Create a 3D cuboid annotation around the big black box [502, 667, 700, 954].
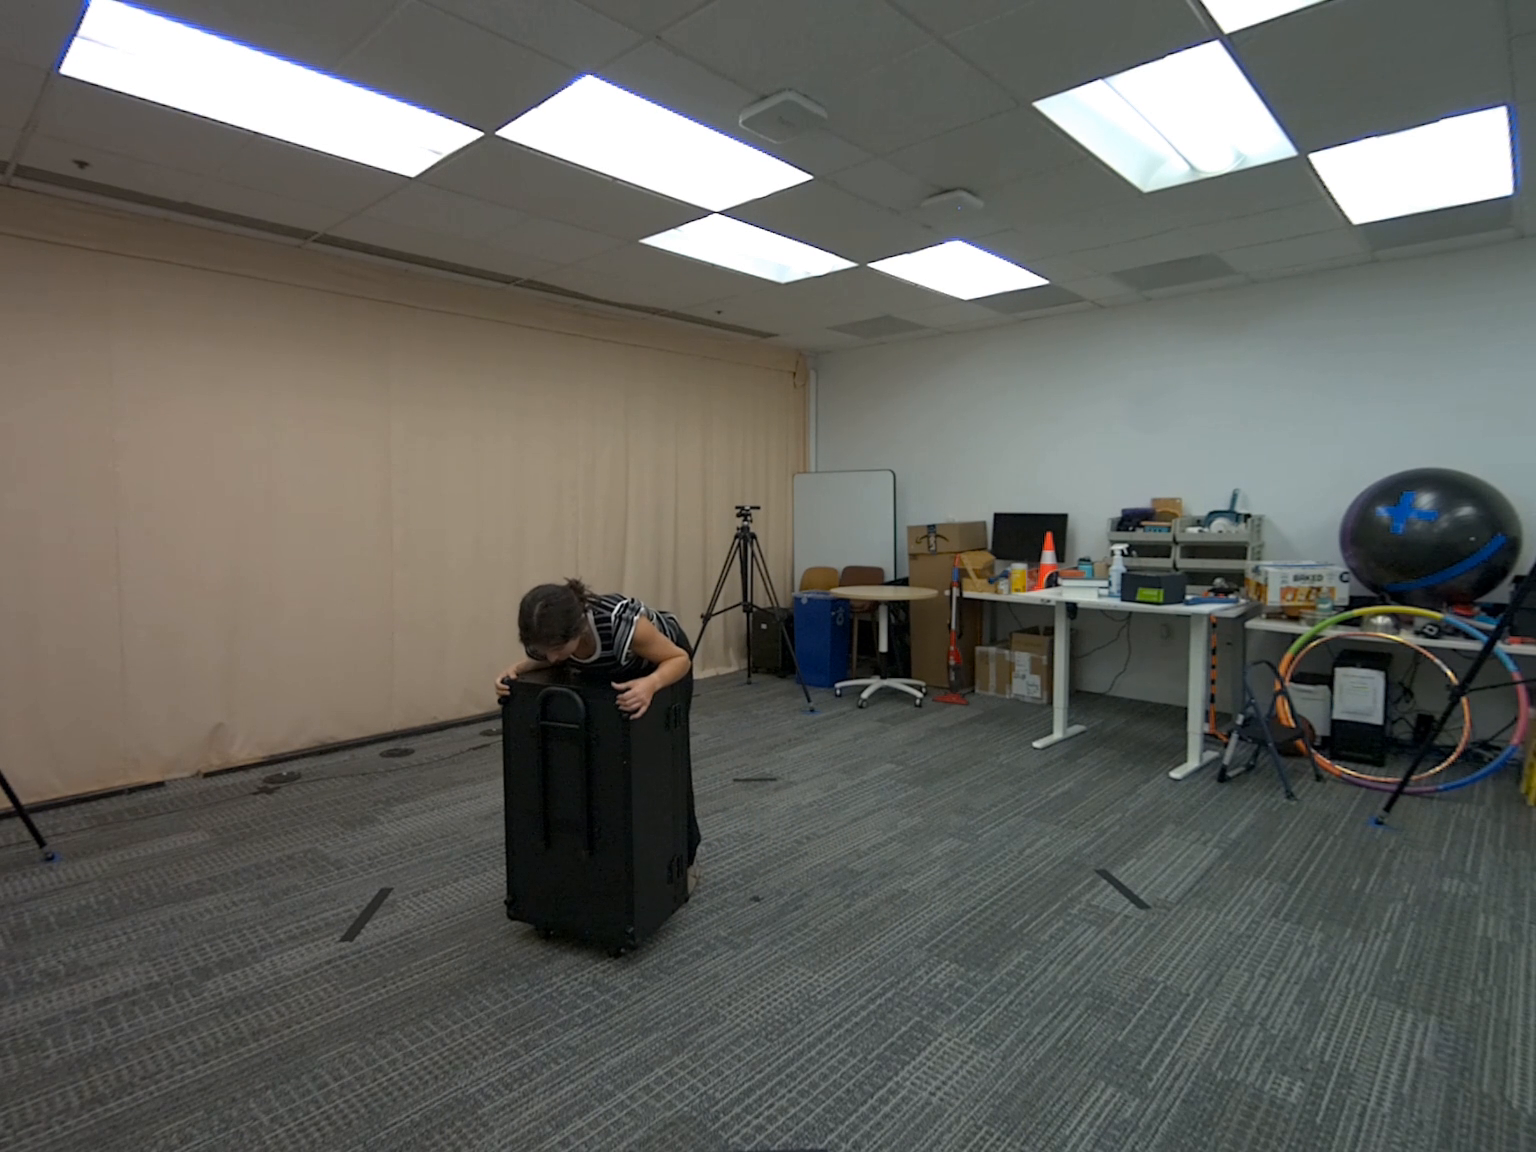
[{"bbox_3d":[-0.564,0.765,2.721,0.534,0.859,0.388,1,4,23],"label":"big black box"}]
